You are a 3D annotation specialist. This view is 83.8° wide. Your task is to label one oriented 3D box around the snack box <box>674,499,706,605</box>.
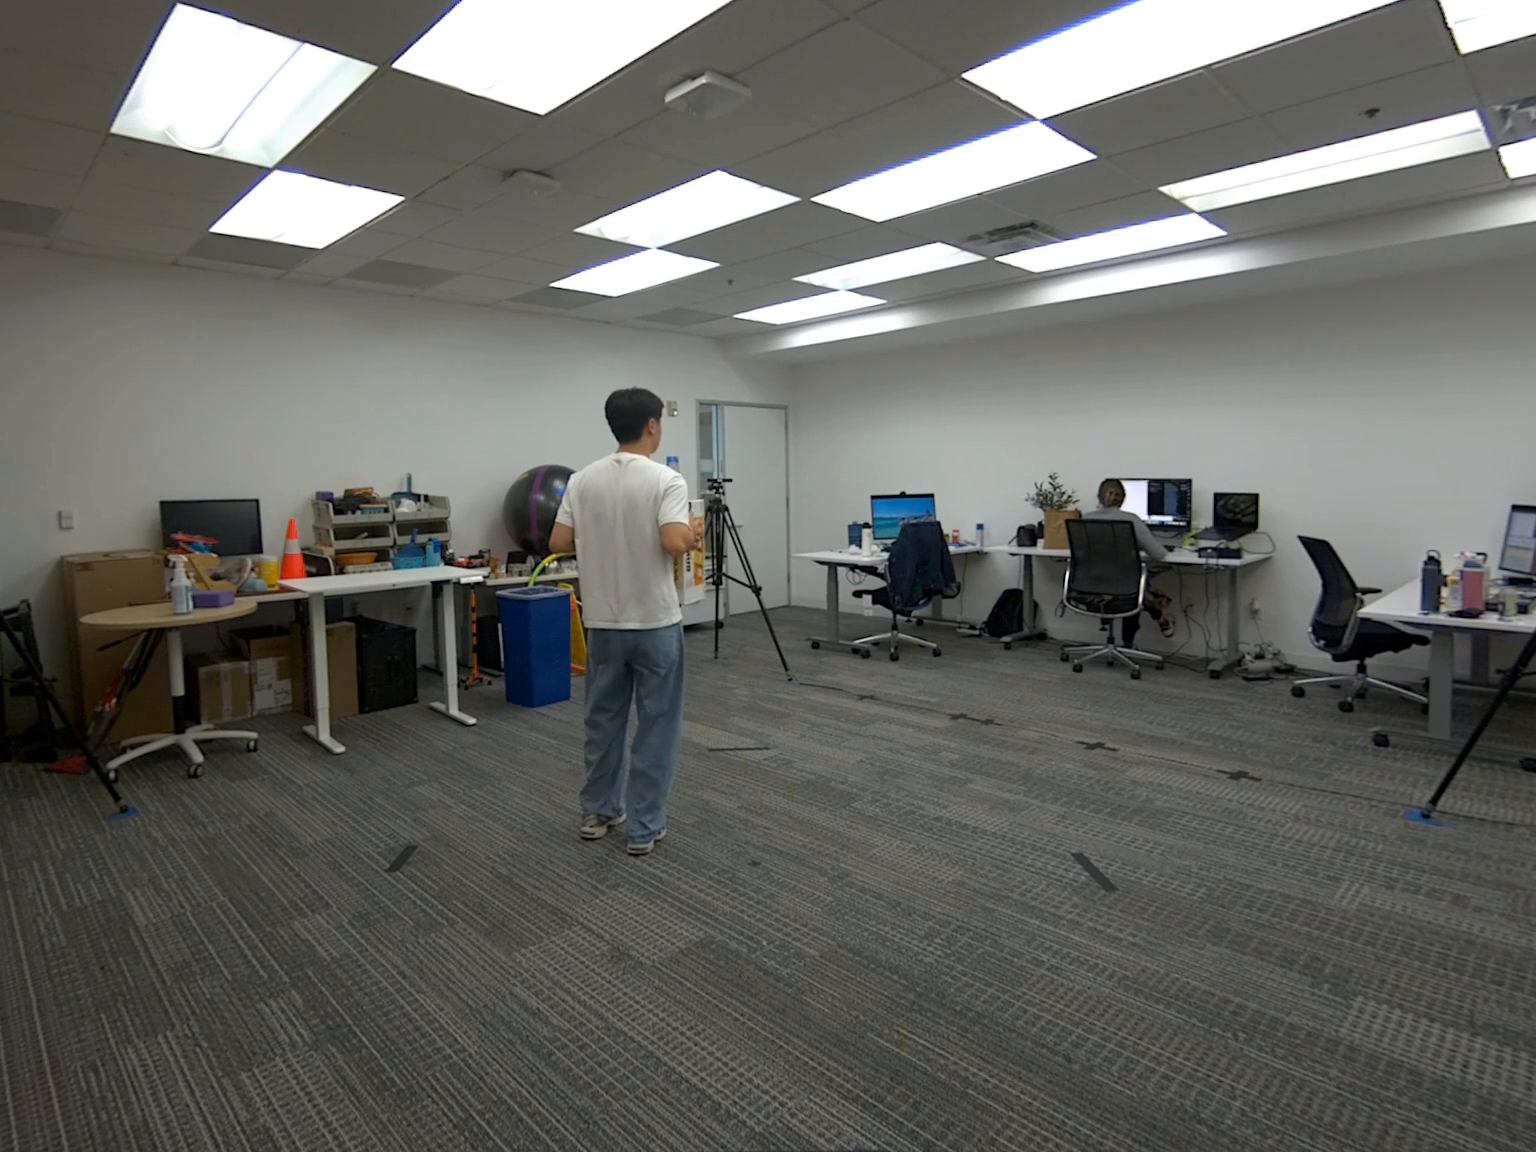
[{"bbox_3d":[-0.448,-0.110,3.487,0.348,0.403,0.202,3,7,23],"label":"snack box"}]
